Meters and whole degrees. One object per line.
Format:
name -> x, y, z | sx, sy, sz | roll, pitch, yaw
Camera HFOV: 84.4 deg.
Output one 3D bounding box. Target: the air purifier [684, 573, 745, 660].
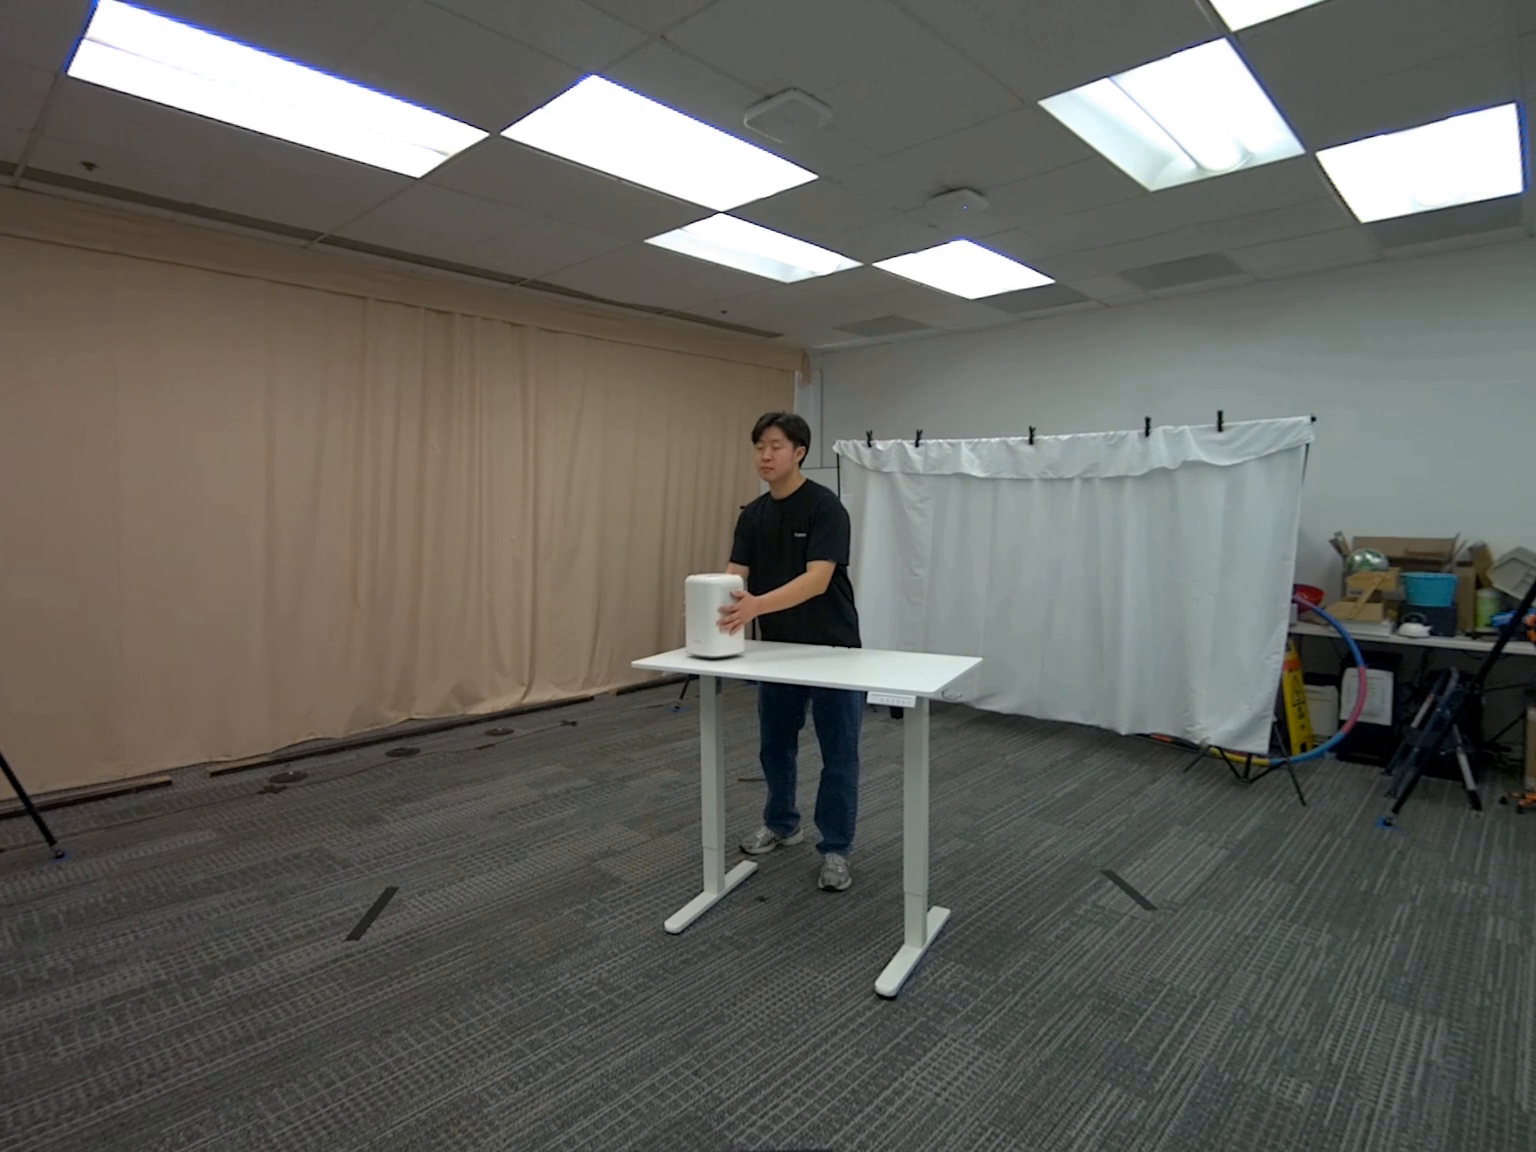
air purifier -> -0.175, 0.129, 2.852 | 0.177, 0.265, 0.166 | 2, 3, 45
